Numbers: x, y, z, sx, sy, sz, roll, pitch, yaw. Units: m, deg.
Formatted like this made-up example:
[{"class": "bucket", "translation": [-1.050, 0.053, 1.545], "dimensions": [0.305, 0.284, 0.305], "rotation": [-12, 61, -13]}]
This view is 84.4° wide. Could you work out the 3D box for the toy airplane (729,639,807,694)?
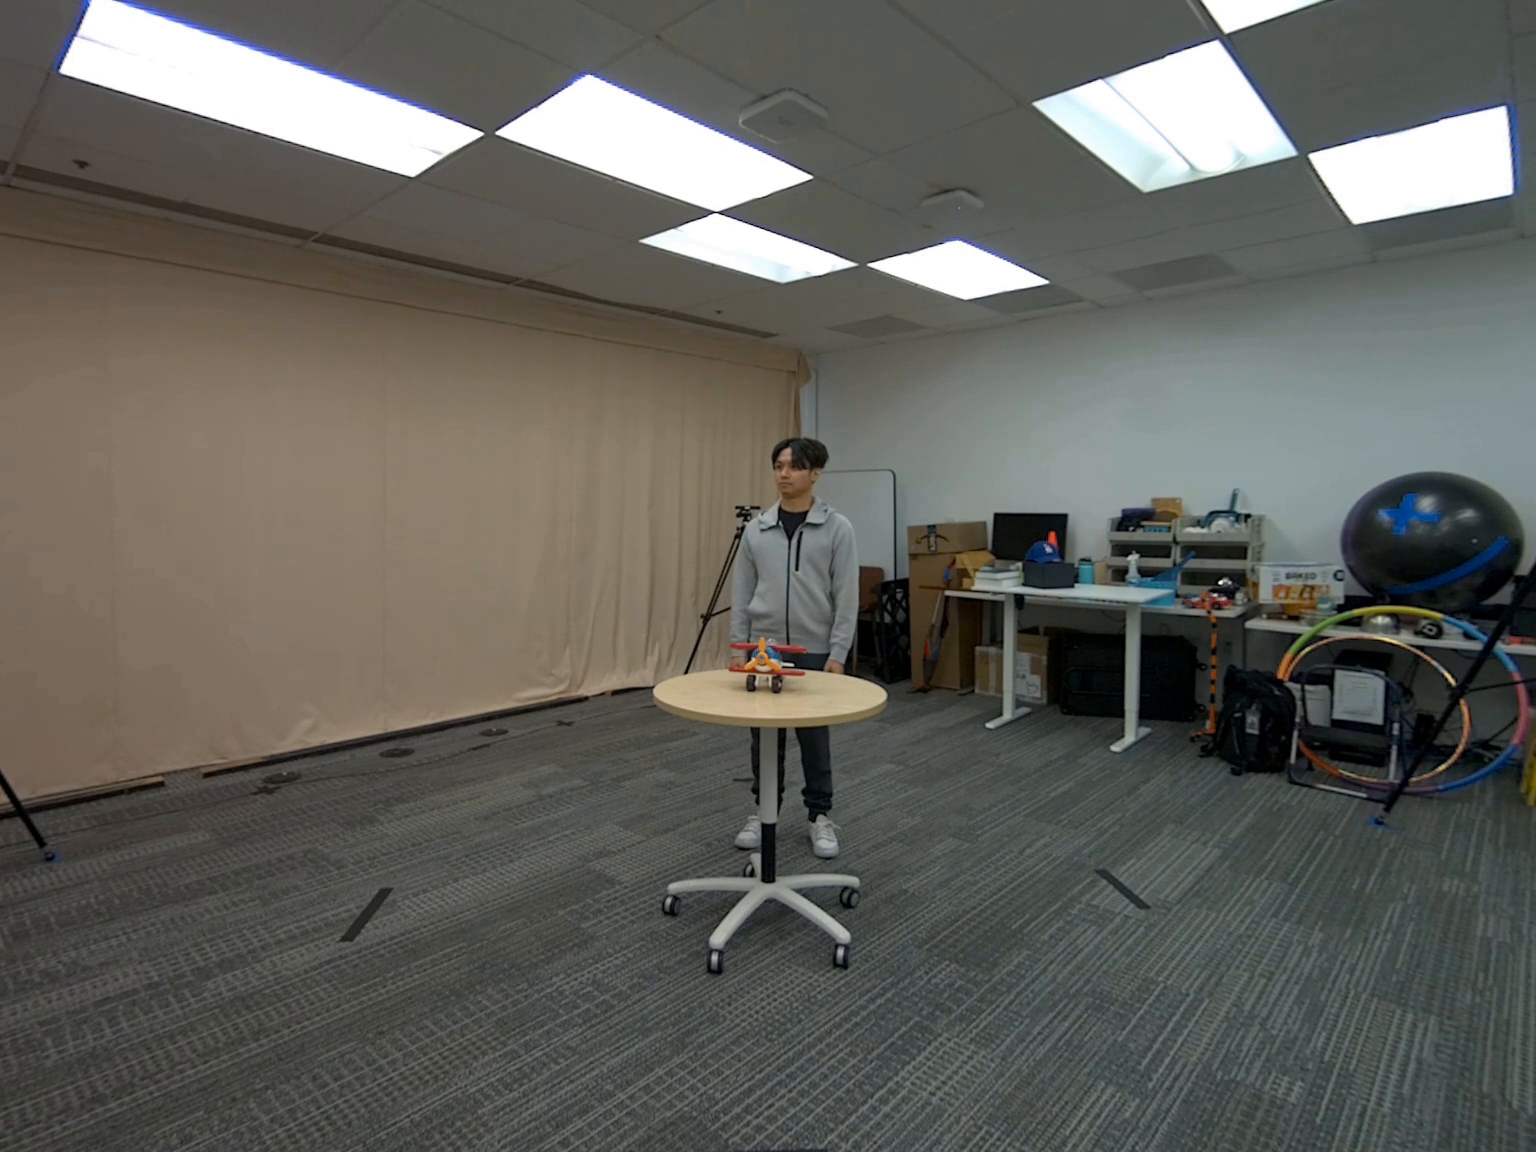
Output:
[{"class": "toy airplane", "translation": [-0.012, 0.296, 2.844], "dimensions": [0.247, 0.156, 0.263], "rotation": [0, 4, -15]}]
